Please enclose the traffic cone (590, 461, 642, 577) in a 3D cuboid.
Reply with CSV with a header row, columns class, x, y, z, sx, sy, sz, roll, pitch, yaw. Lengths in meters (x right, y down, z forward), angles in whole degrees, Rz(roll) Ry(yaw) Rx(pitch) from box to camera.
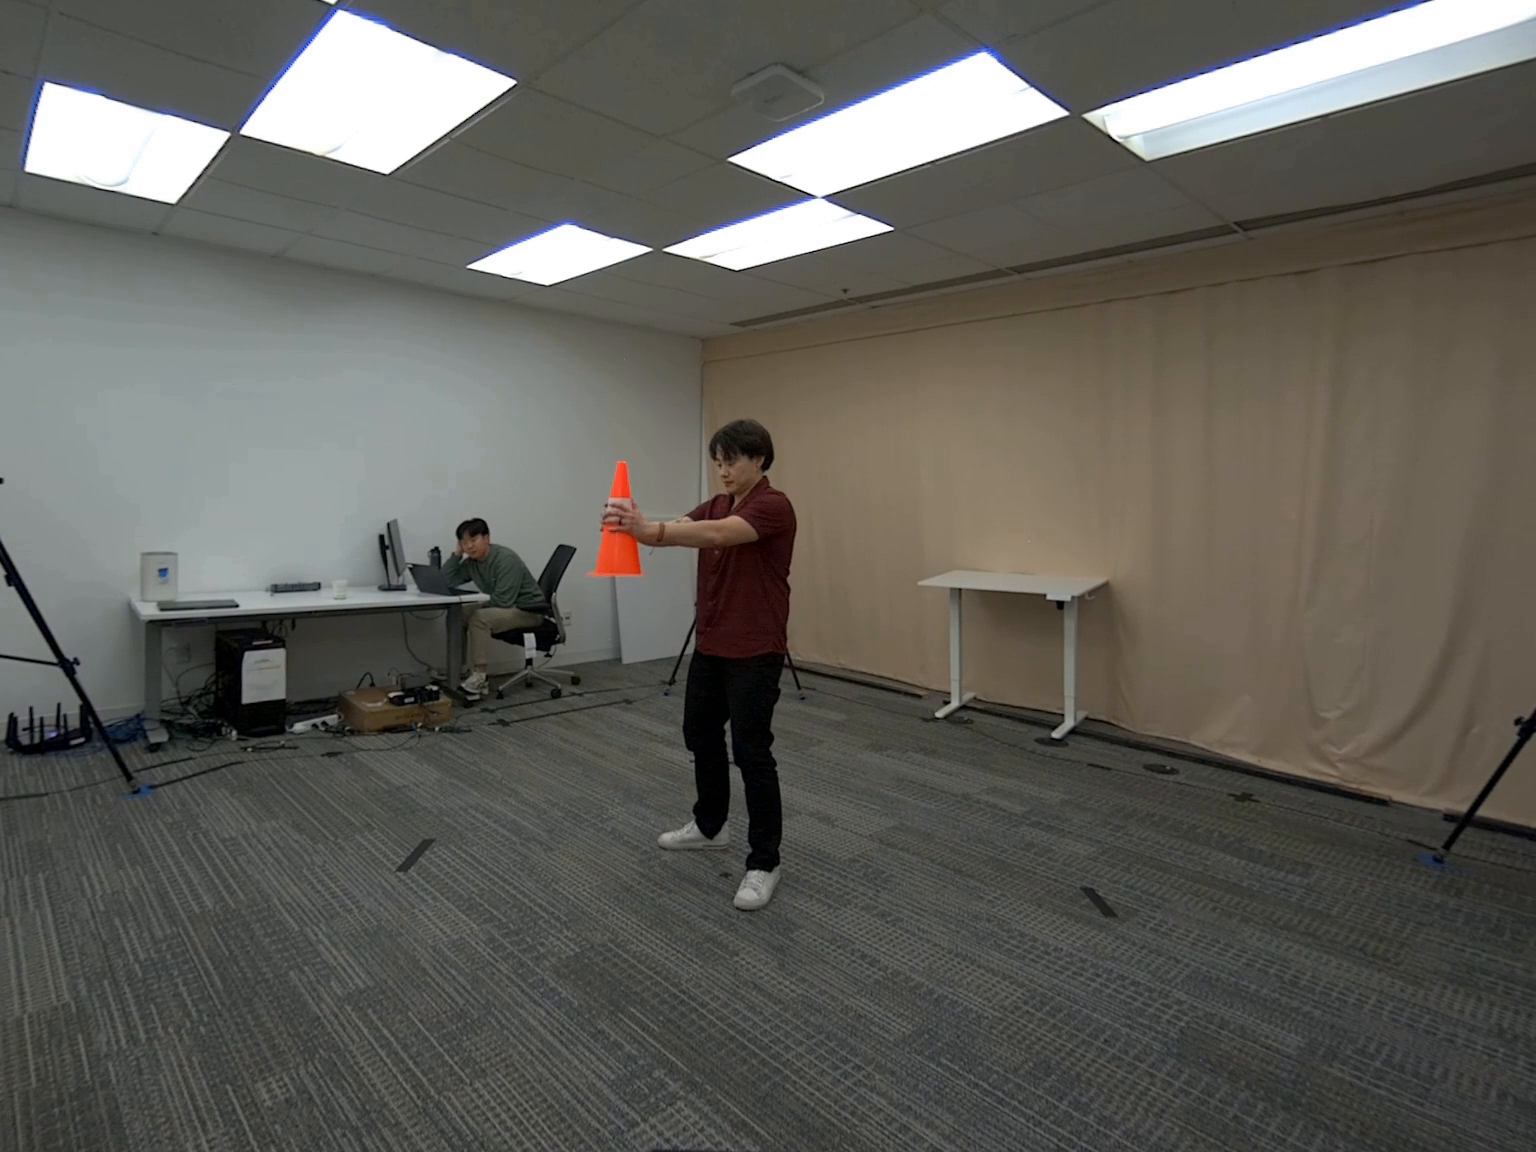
class,x,y,z,sx,sy,sz,roll,pitch,yaw
traffic cone,-0.519,-0.192,2.849,0.200,0.383,0.208,0,1,-40
